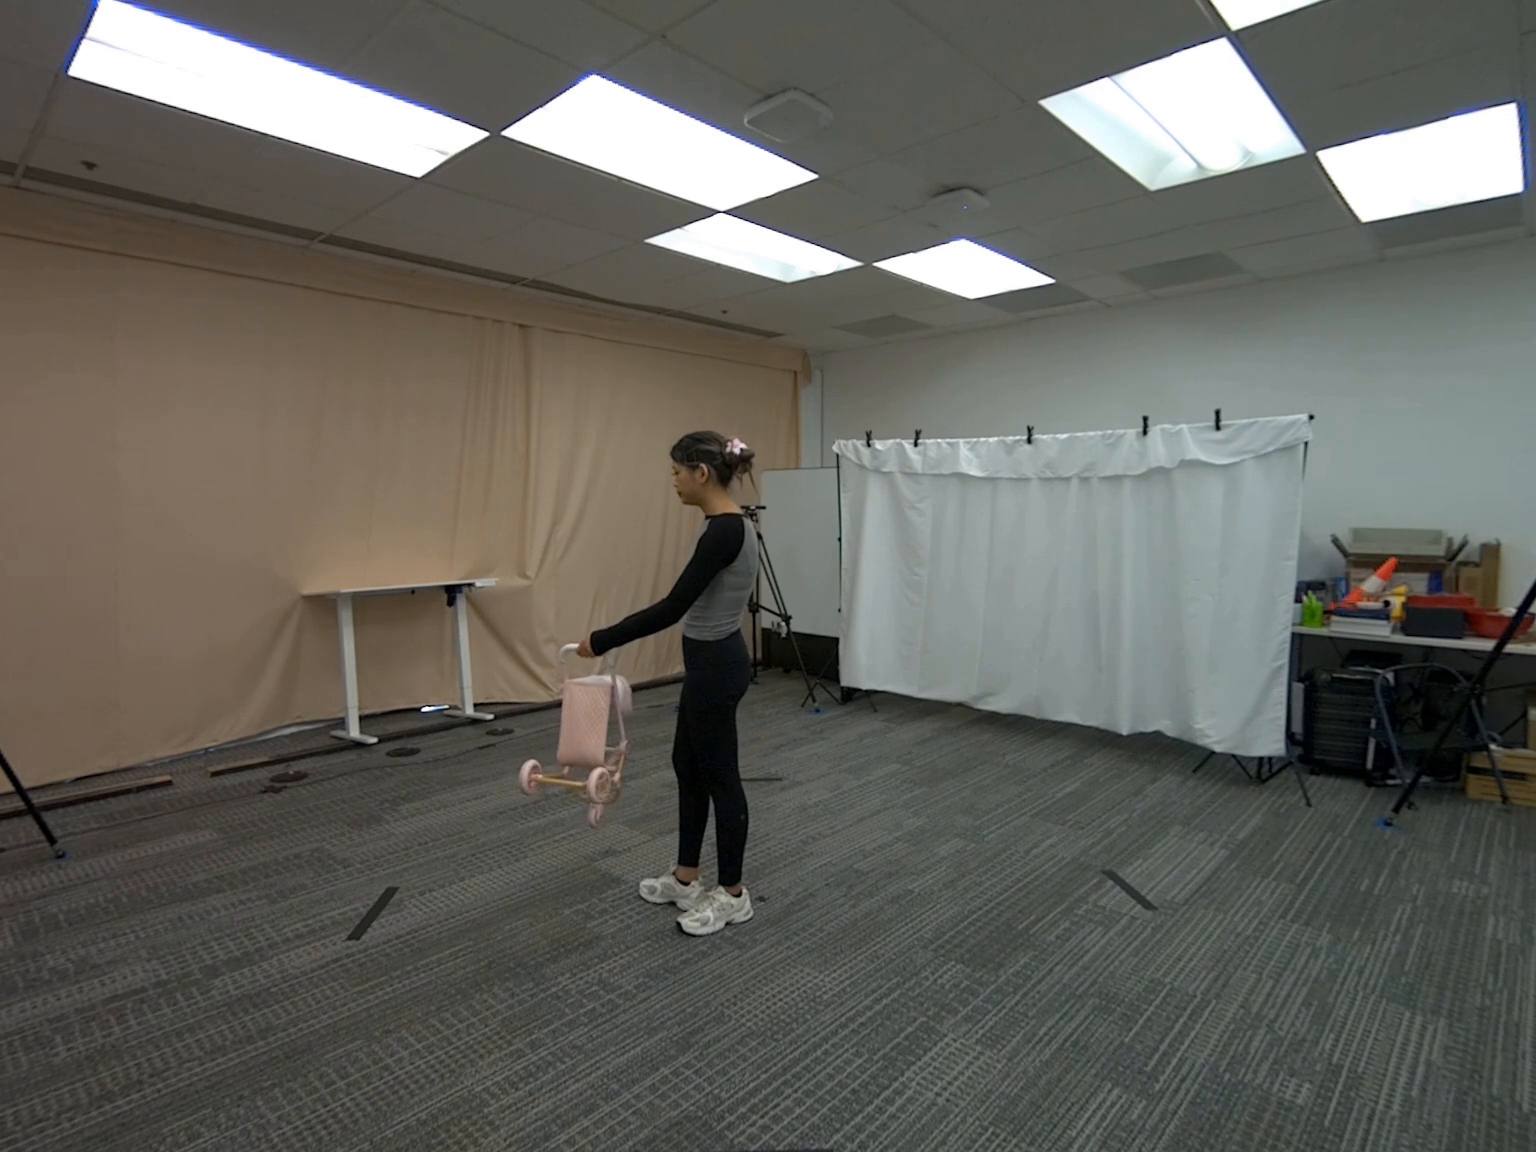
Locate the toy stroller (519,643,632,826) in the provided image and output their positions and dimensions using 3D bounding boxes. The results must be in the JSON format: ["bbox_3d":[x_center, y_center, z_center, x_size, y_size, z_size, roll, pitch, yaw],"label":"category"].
[{"bbox_3d":[-0.578,0.537,2.790,0.288,0.540,0.330,-2,-23,23],"label":"toy stroller"}]
